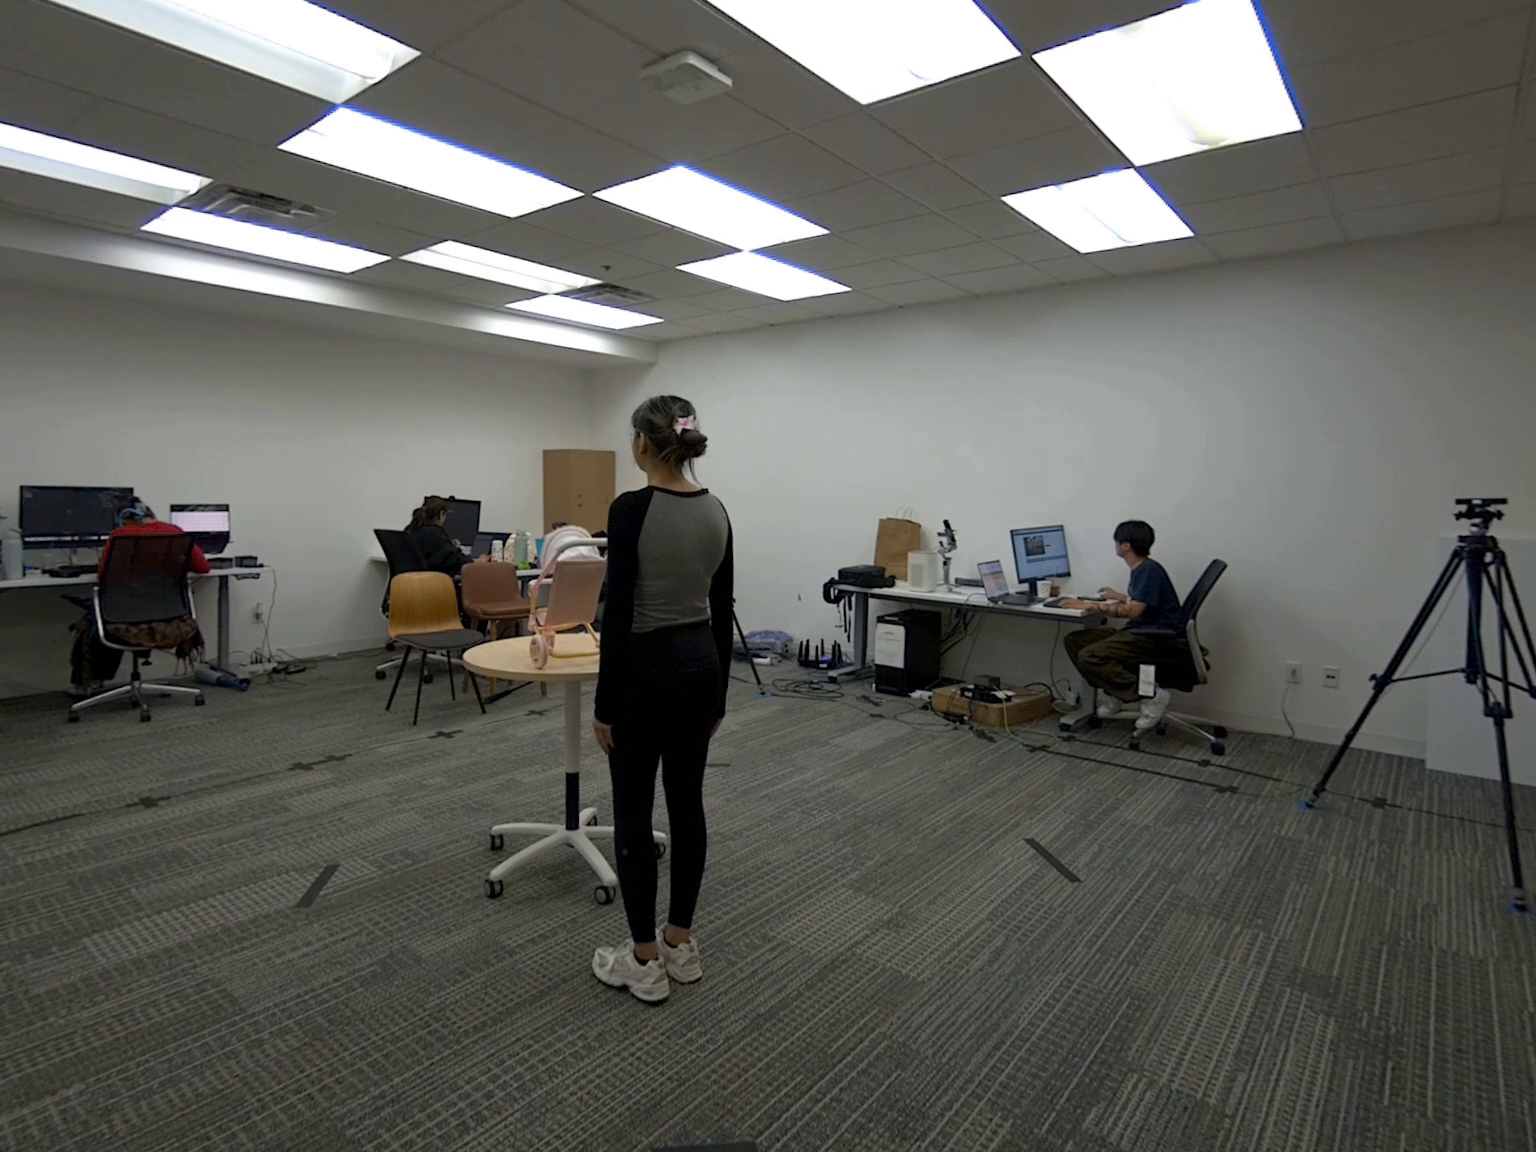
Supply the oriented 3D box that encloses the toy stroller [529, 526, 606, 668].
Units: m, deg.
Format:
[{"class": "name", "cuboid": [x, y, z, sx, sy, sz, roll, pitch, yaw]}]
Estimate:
[{"class": "toy stroller", "cuboid": [-0.687, 0.066, 2.887, 0.274, 0.528, 0.355, -1, 20, -30]}]
